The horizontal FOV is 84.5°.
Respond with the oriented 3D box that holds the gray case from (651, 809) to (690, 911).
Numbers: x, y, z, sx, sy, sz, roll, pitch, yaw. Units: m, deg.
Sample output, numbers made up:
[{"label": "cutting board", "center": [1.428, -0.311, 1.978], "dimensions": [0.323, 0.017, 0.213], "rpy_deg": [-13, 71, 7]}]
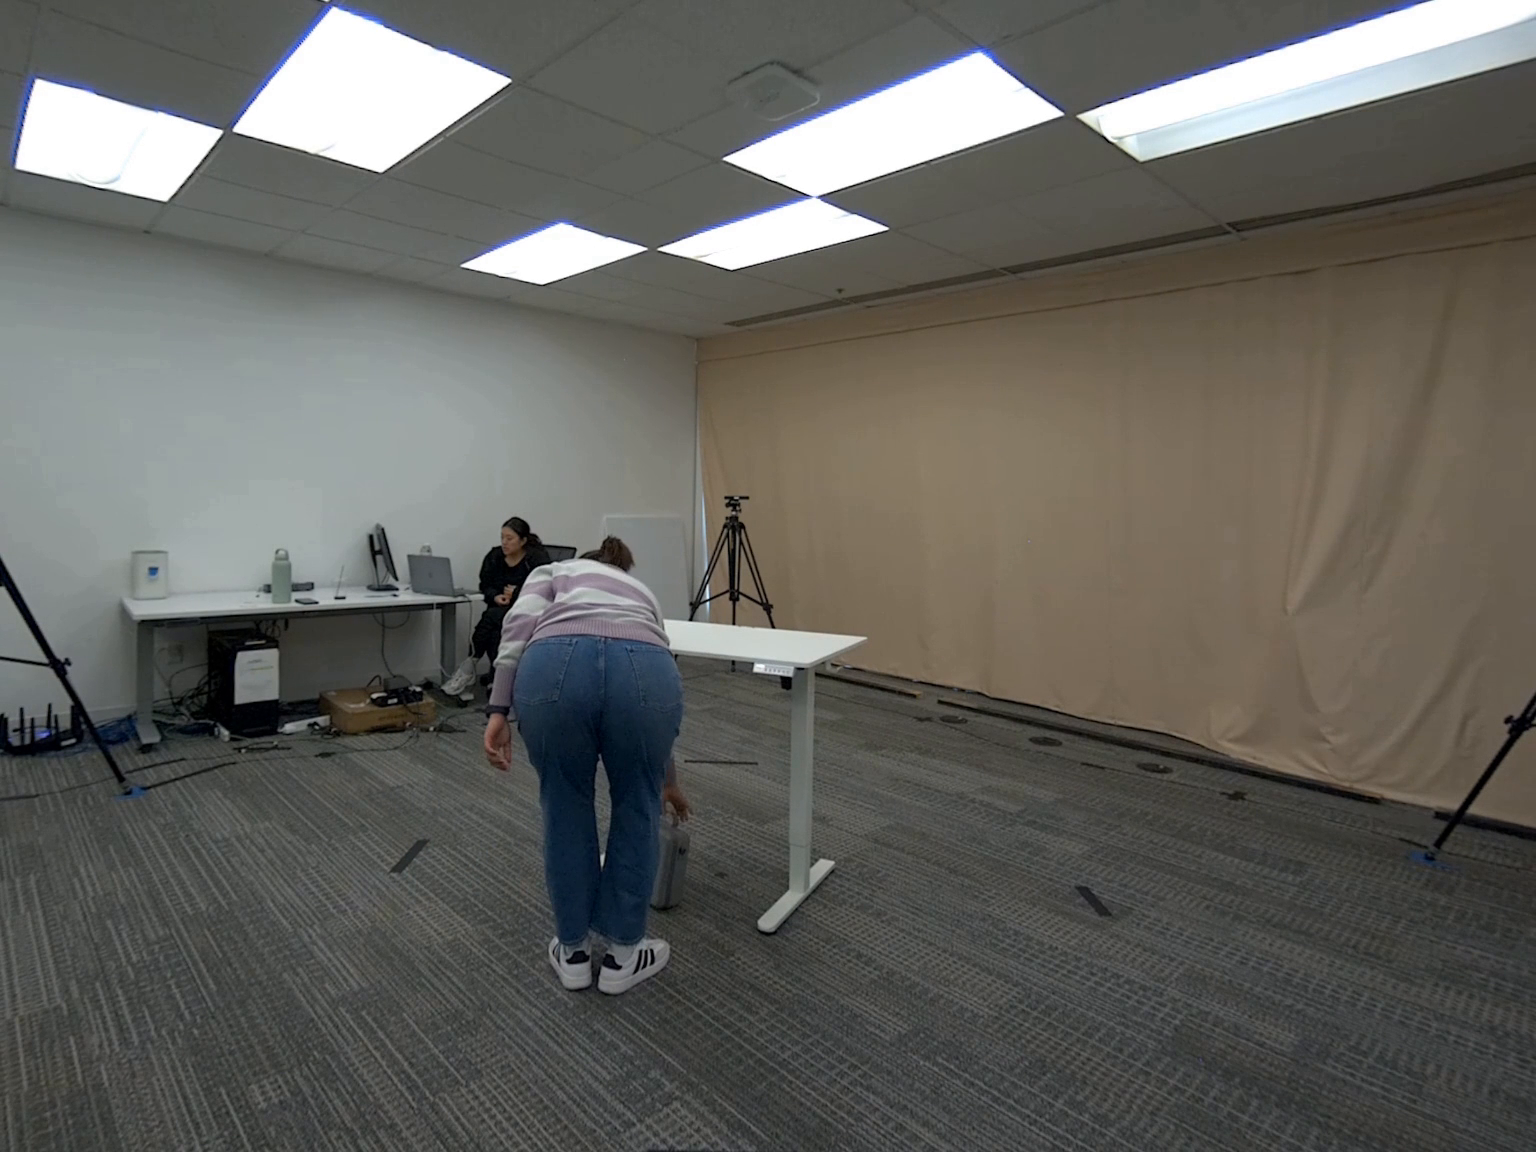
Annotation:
[{"label": "gray case", "center": [-0.399, 0.987, 2.930], "dimensions": [0.102, 0.261, 0.263], "rpy_deg": [9, -2, -37]}]
